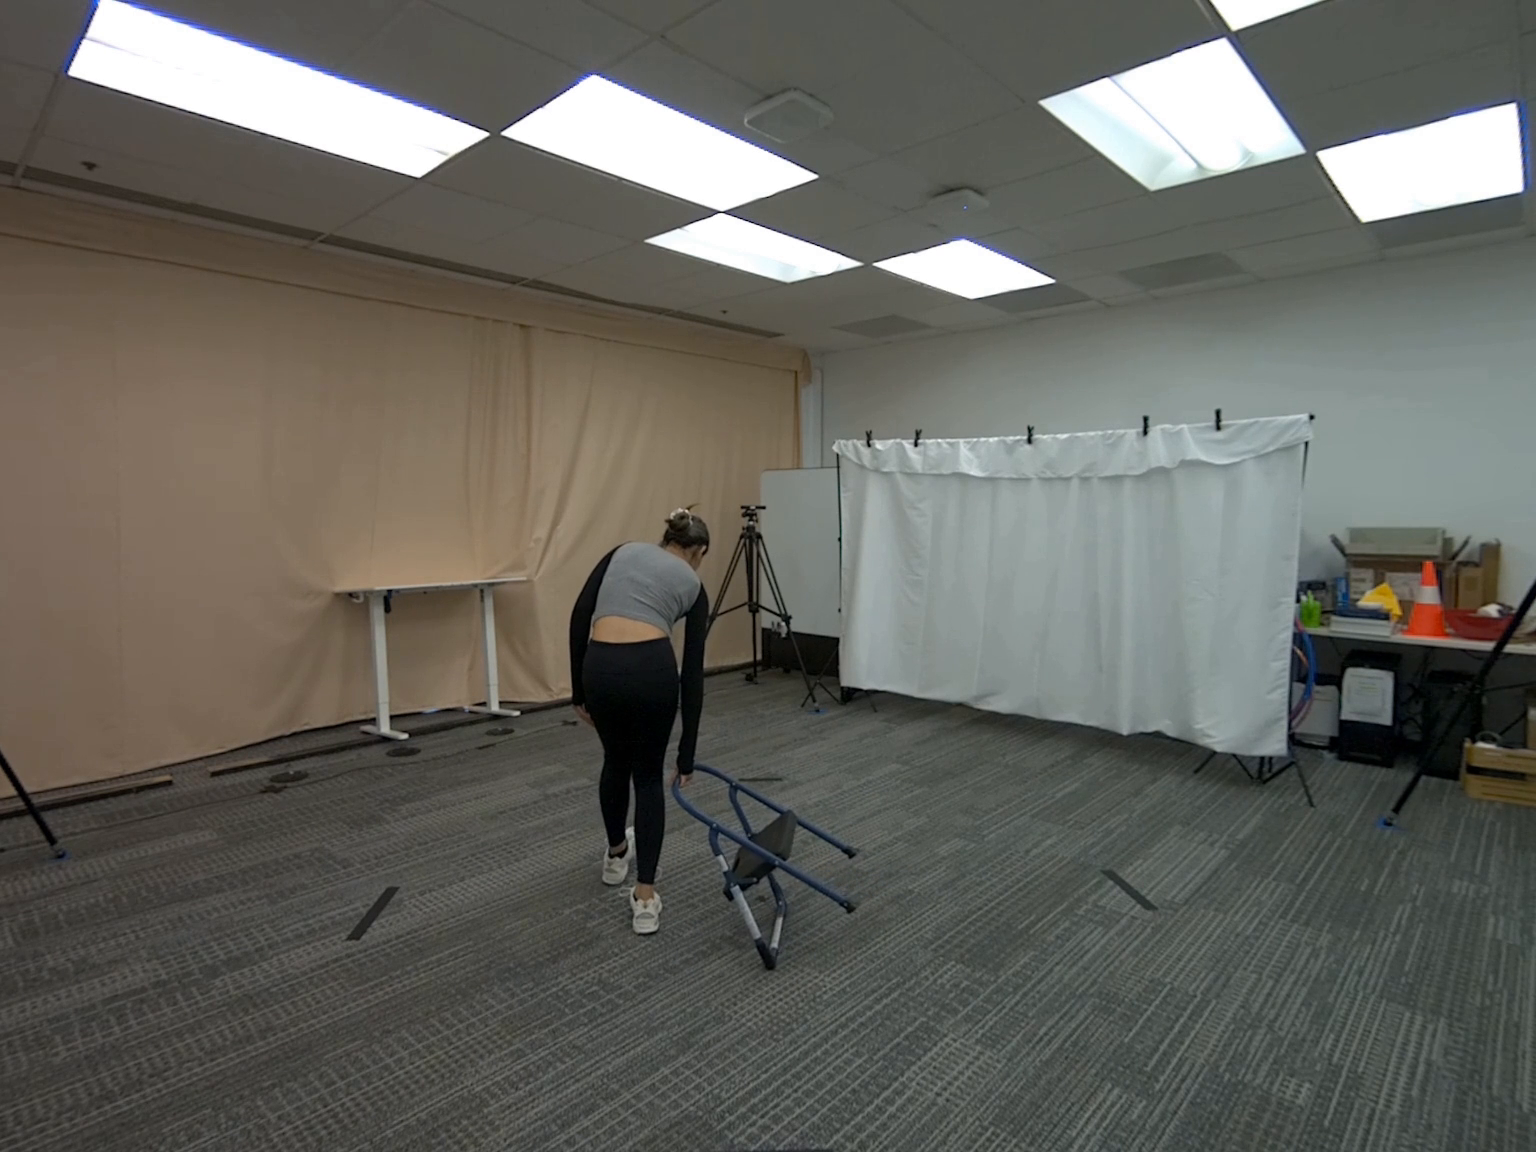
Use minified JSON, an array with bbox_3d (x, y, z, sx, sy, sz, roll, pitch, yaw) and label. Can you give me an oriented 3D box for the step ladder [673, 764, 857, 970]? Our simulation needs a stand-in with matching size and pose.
[{"bbox_3d":[-0.031,0.839,2.708,0.350,0.609,0.427,-41,-3,8],"label":"step ladder"}]
